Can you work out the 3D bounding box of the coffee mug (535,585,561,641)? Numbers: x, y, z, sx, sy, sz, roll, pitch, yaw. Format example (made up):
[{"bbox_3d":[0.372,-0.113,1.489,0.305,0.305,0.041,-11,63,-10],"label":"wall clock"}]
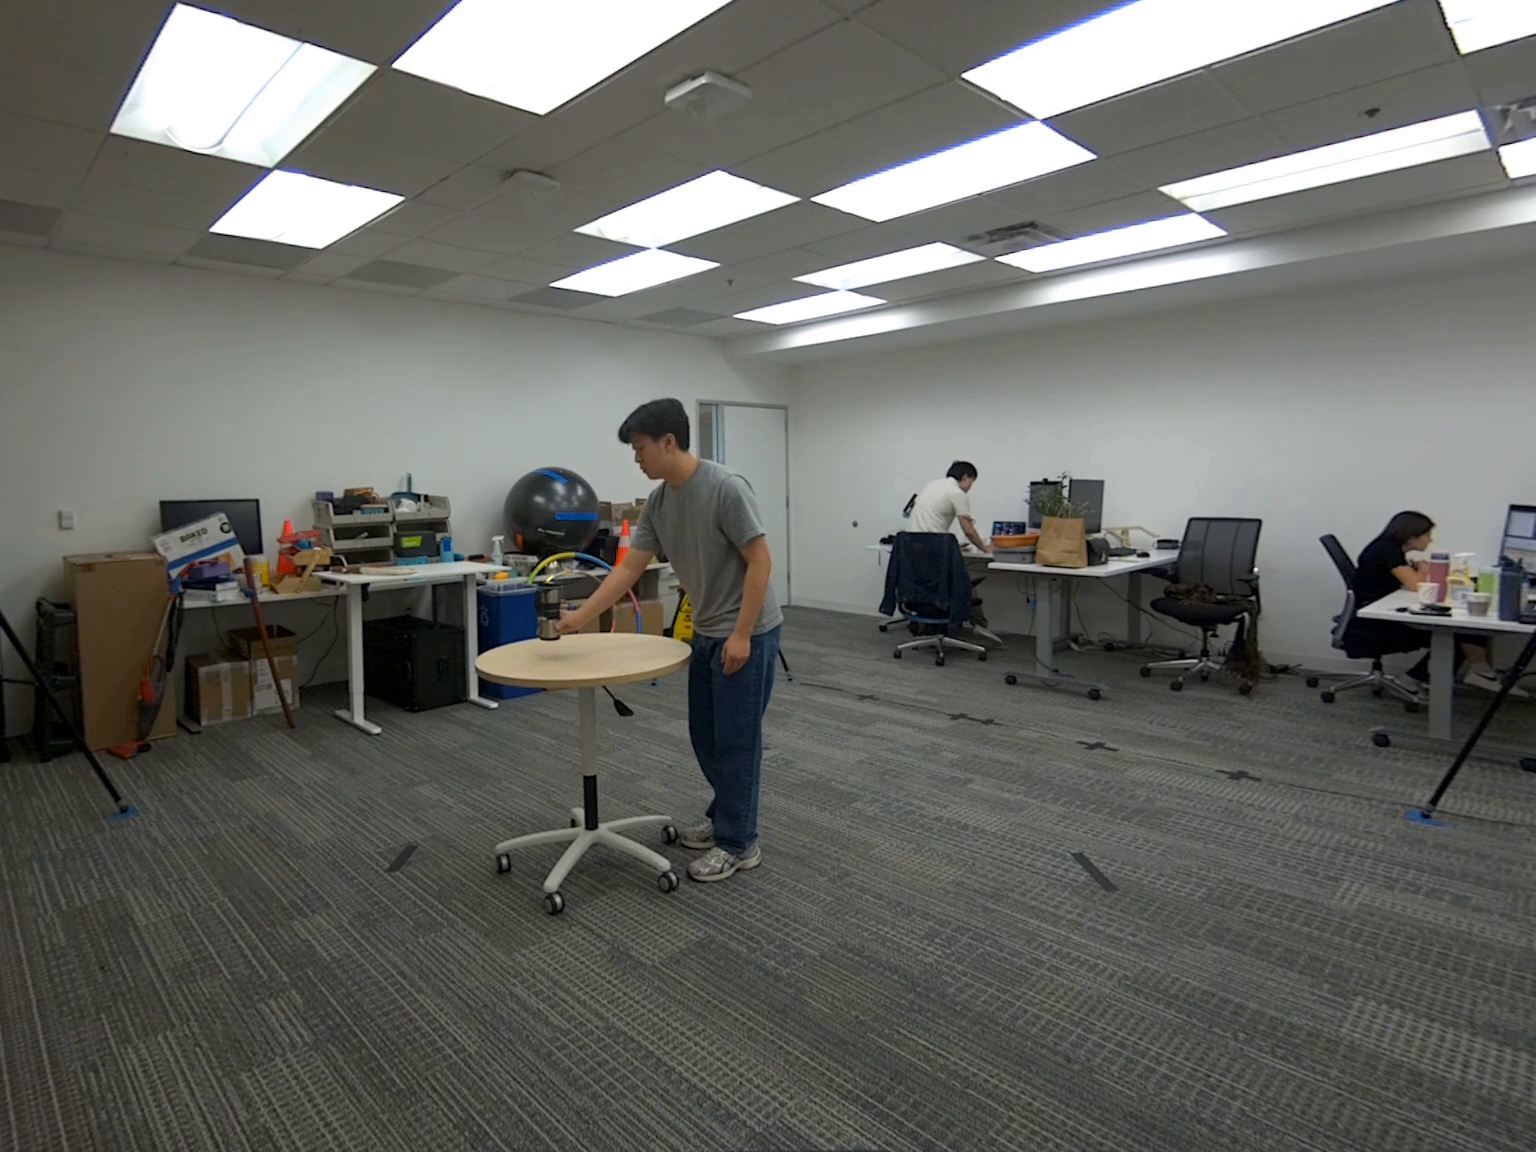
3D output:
[{"bbox_3d":[-0.744,0.124,2.955,0.090,0.202,0.119,7,5,31],"label":"coffee mug"}]
